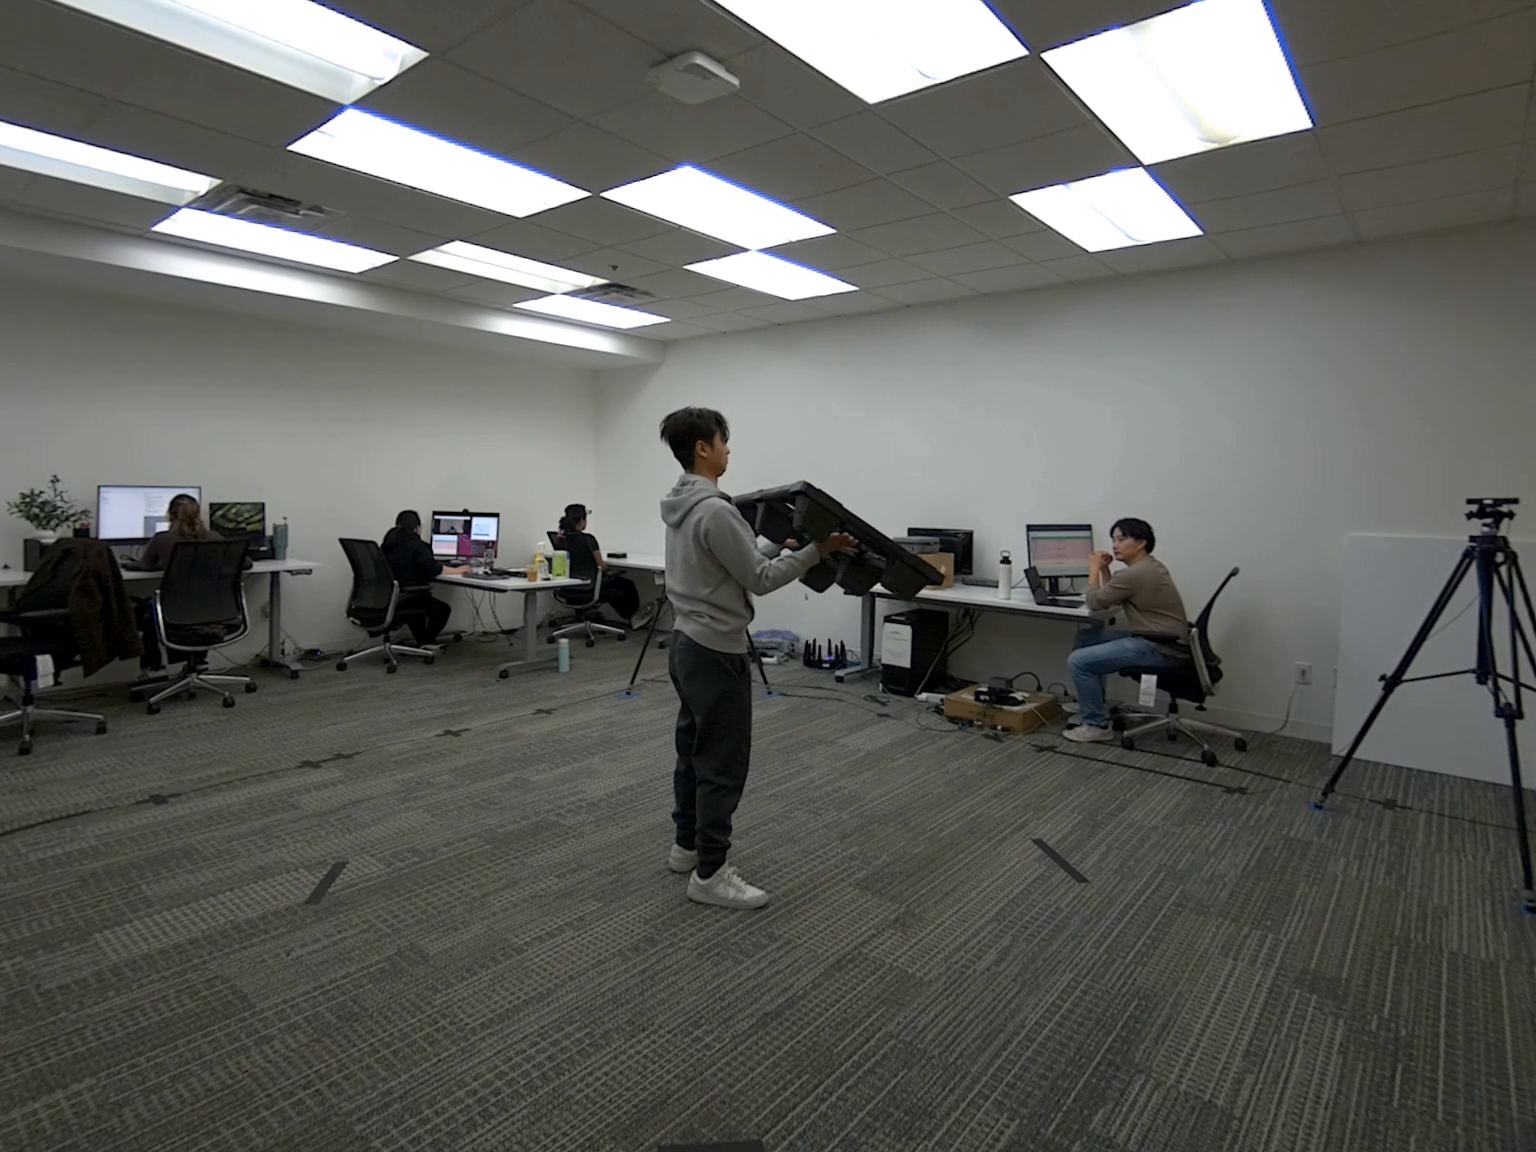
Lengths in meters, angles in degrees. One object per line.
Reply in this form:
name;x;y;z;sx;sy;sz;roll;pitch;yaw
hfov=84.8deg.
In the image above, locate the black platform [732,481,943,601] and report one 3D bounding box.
black platform;0.168;-0.105;3.115;0.592;0.144;0.821;34;-11;-17
